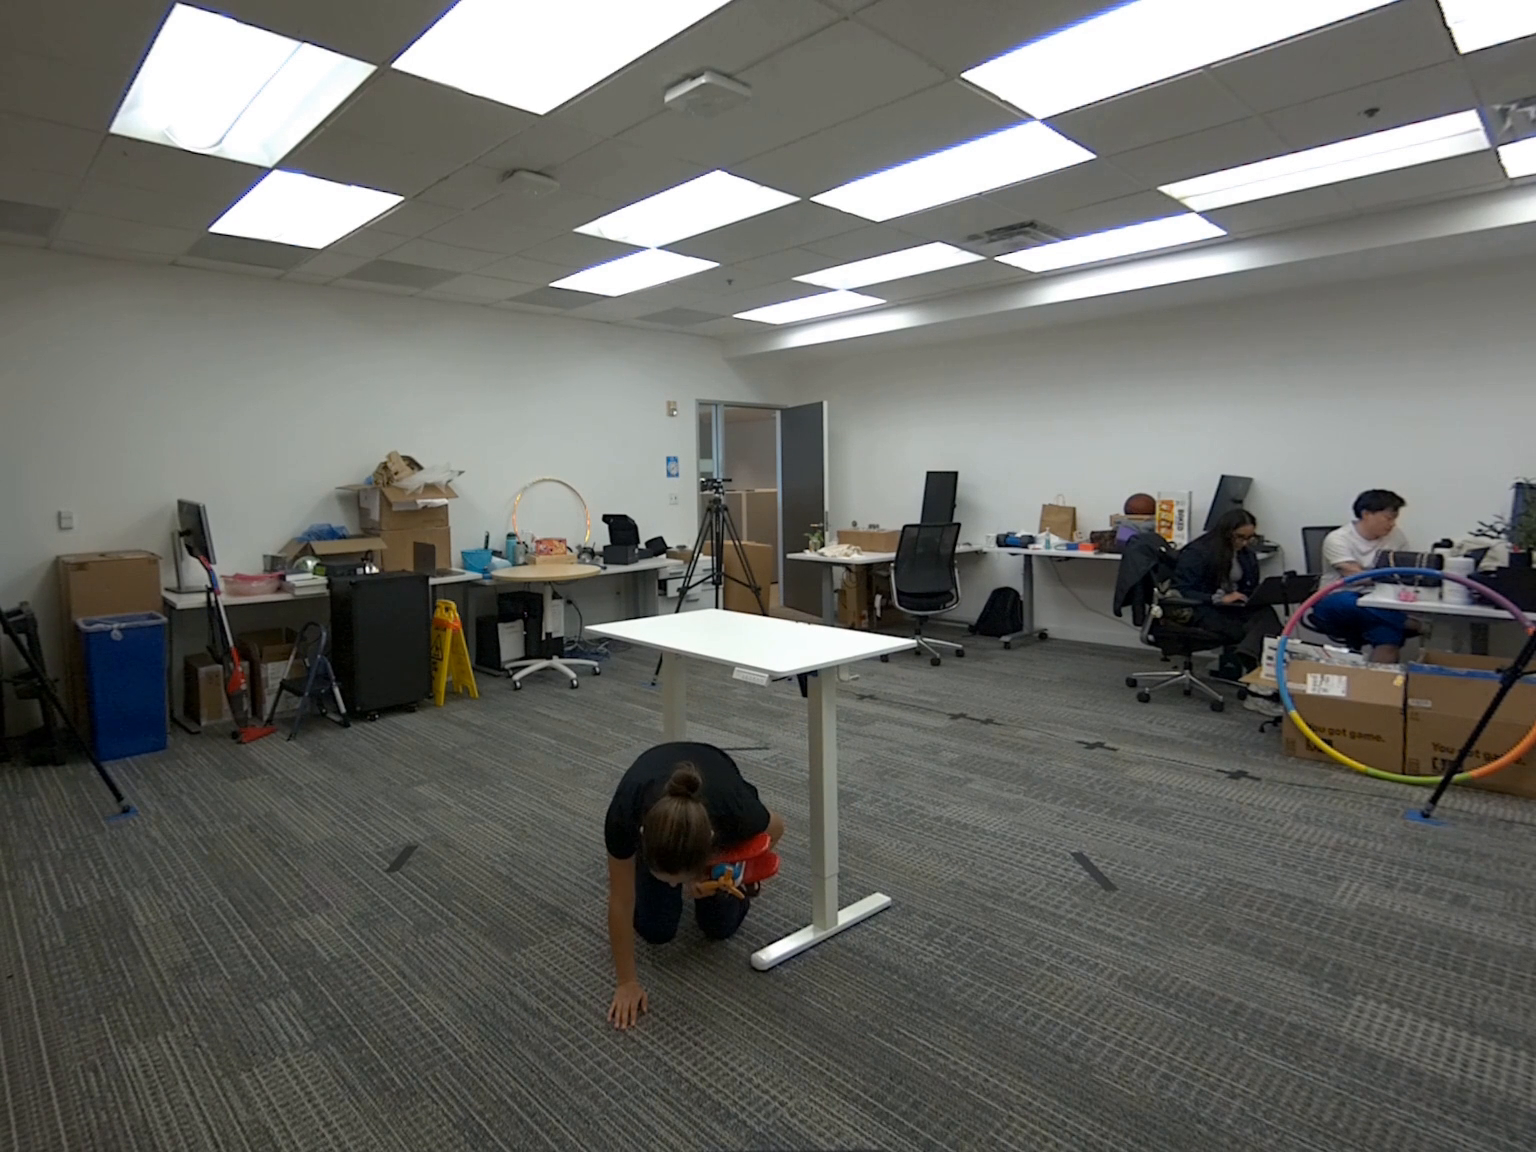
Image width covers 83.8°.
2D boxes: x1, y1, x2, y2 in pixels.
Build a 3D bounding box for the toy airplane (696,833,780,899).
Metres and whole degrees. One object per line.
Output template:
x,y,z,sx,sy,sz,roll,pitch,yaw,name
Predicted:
-0.117,0.756,2.360,0.250,0.151,0.269,-33,39,-6,toy airplane
